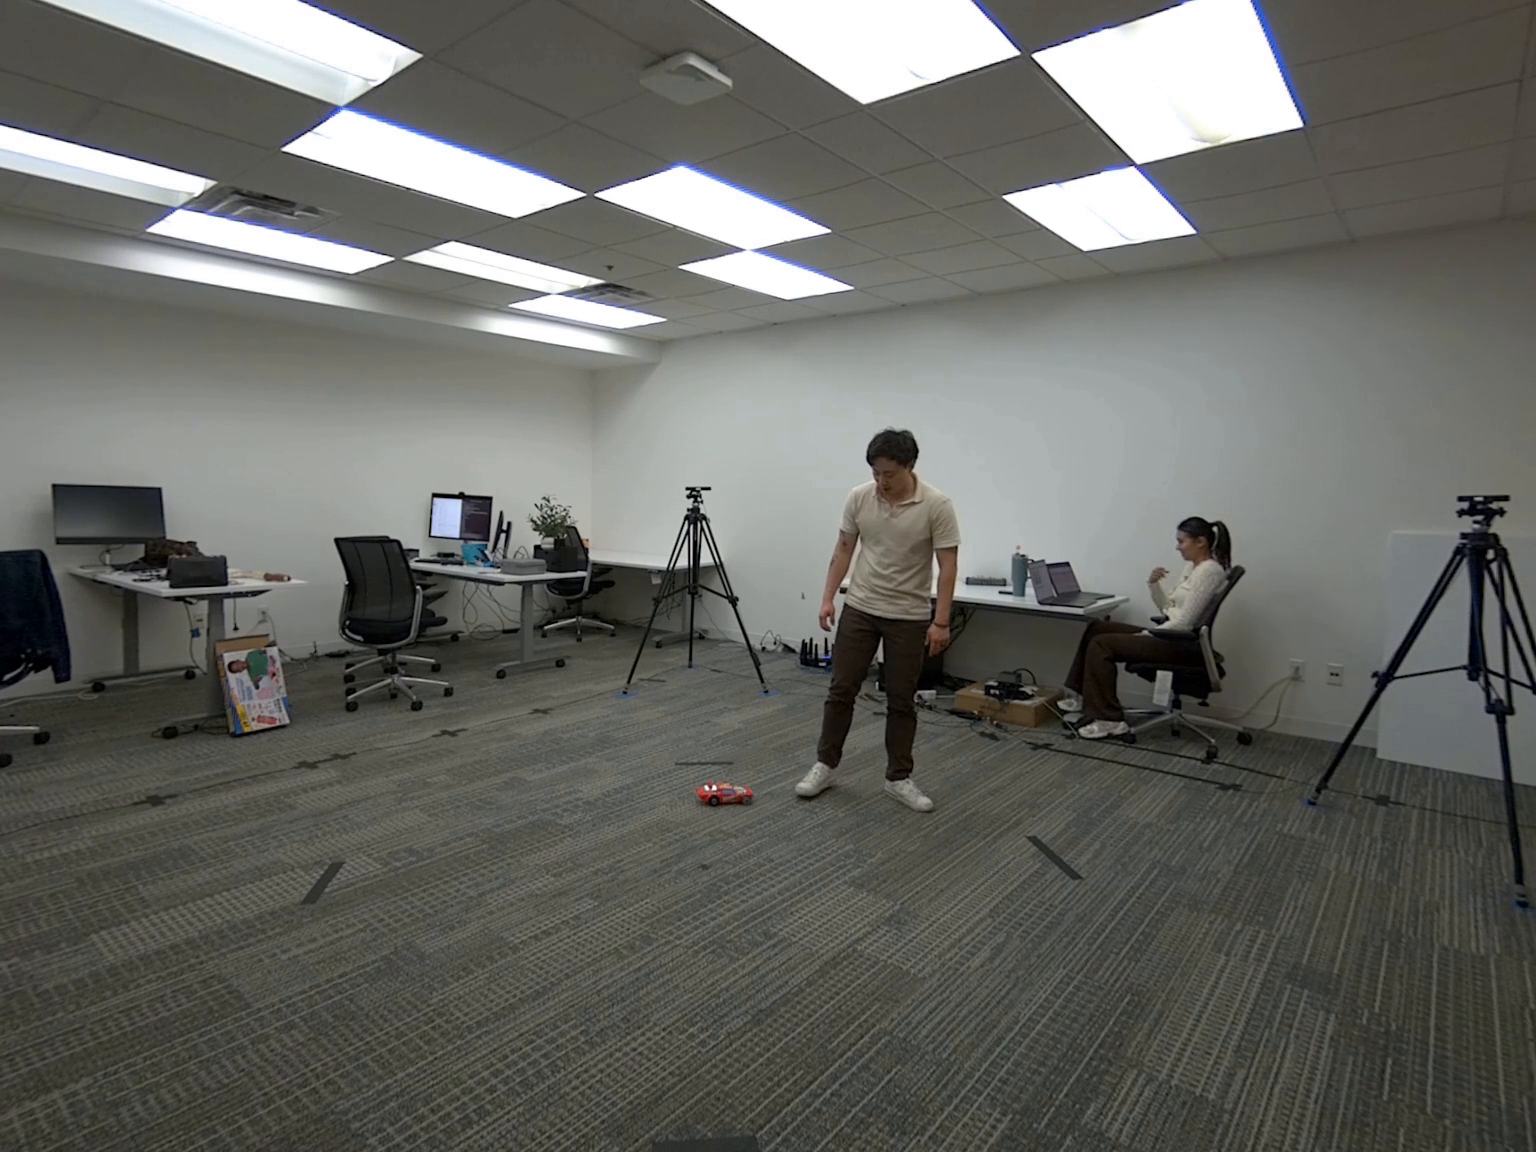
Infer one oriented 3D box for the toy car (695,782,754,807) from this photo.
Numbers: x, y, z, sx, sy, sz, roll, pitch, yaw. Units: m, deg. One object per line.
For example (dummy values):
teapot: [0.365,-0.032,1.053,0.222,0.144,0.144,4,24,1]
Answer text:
toy car: [-0.209,0.968,3.779,0.251,0.083,0.132,11,2,-11]
